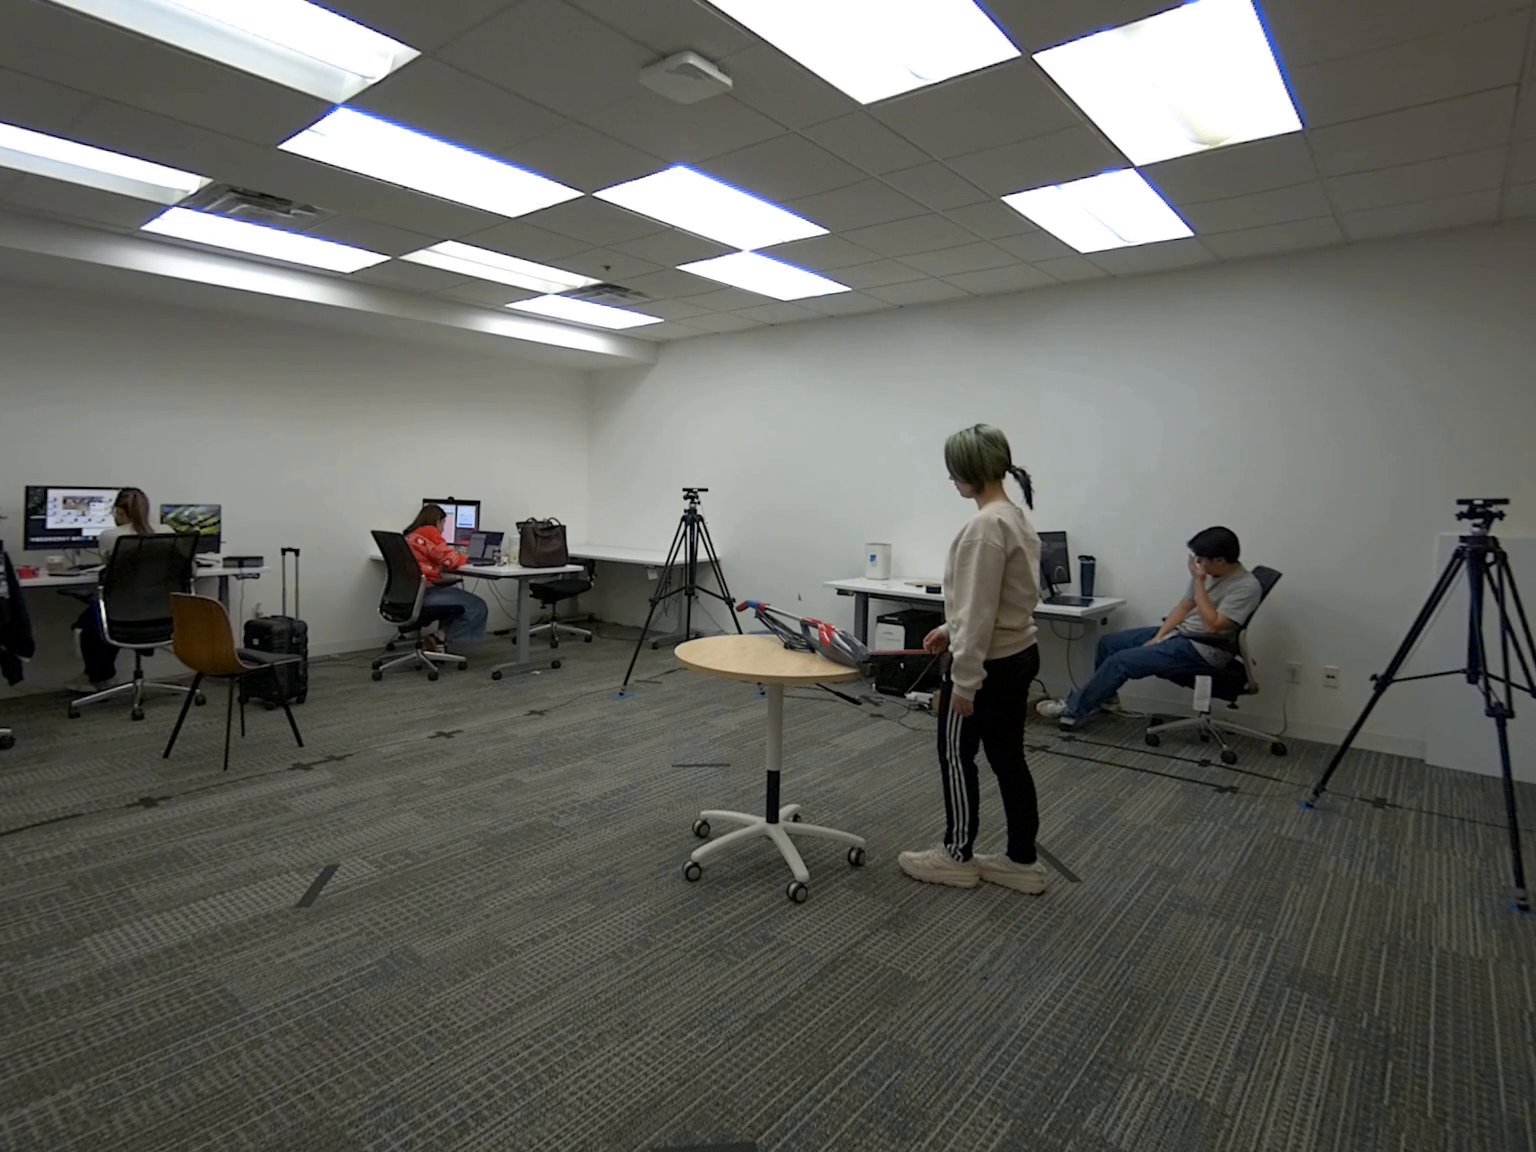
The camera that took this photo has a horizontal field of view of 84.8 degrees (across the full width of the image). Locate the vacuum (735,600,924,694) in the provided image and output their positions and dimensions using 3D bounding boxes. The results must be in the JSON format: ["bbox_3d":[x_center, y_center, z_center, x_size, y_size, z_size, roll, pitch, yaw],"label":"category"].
[{"bbox_3d":[0.115,0.225,3.287,0.245,0.143,1.084,5,5,-31],"label":"vacuum"}]
